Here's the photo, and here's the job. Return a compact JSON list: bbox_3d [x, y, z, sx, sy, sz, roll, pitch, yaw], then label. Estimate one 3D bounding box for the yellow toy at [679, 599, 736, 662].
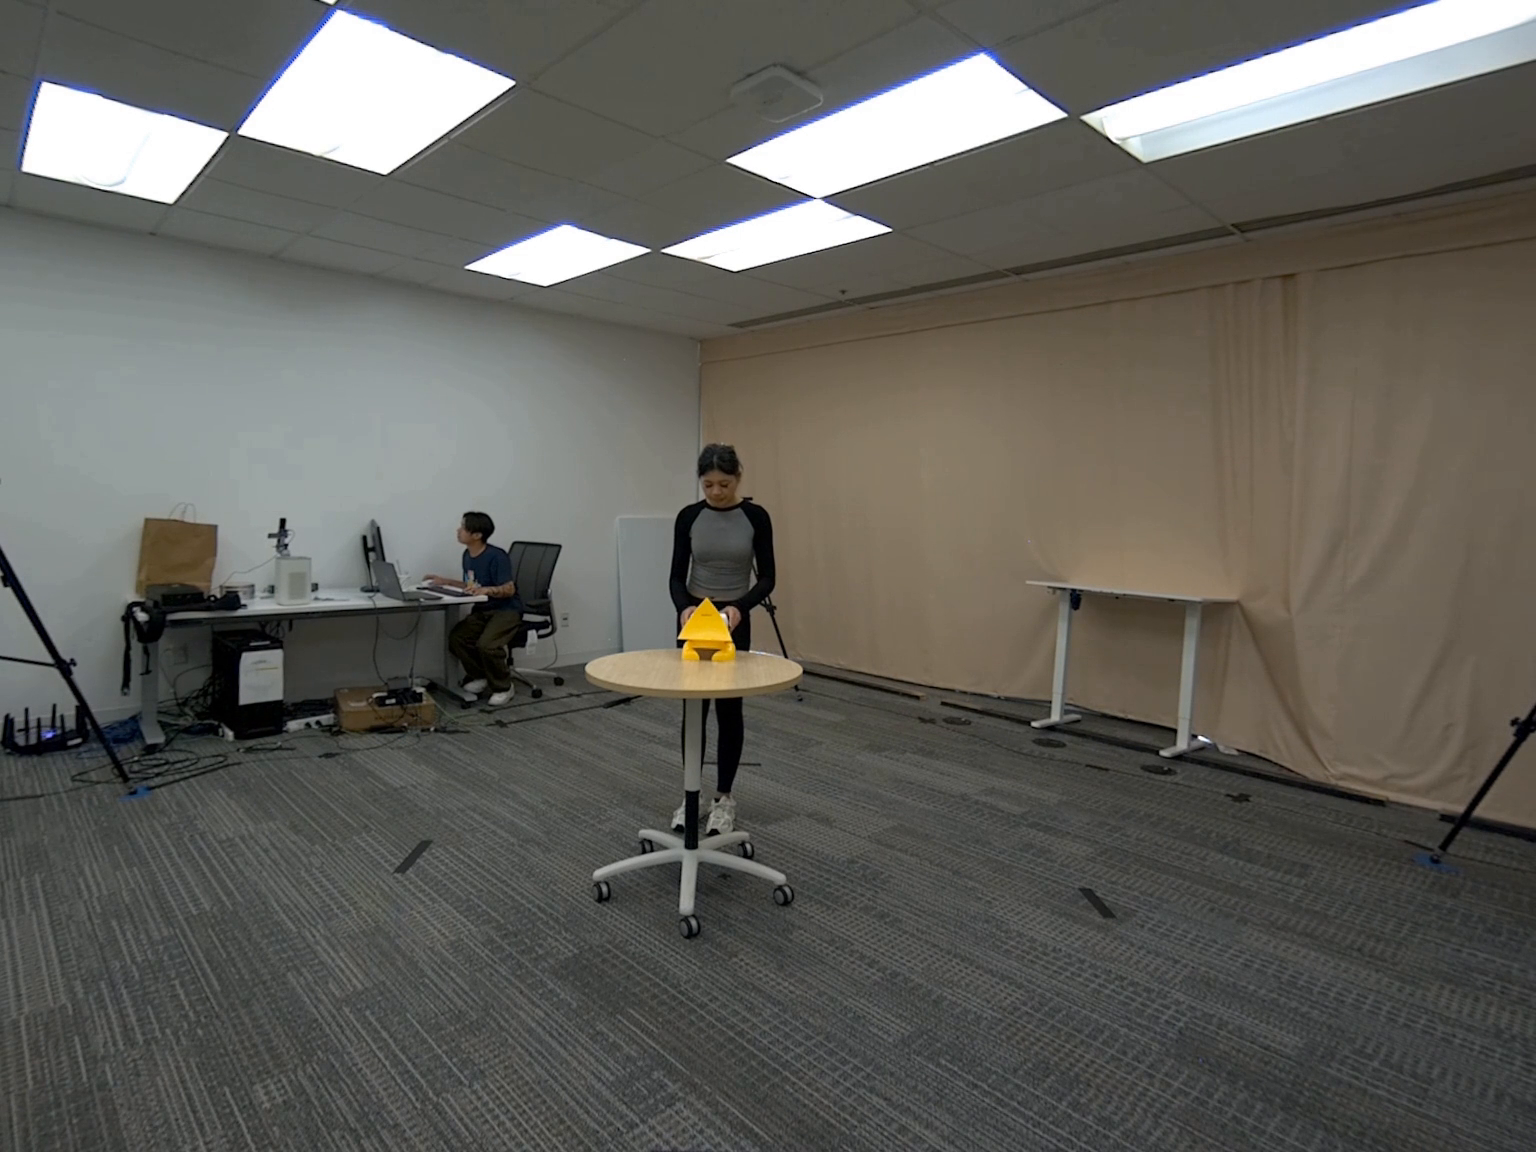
[{"bbox_3d":[-0.233,0.193,3.173,0.206,0.230,0.192,3,4,8],"label":"yellow toy"}]
